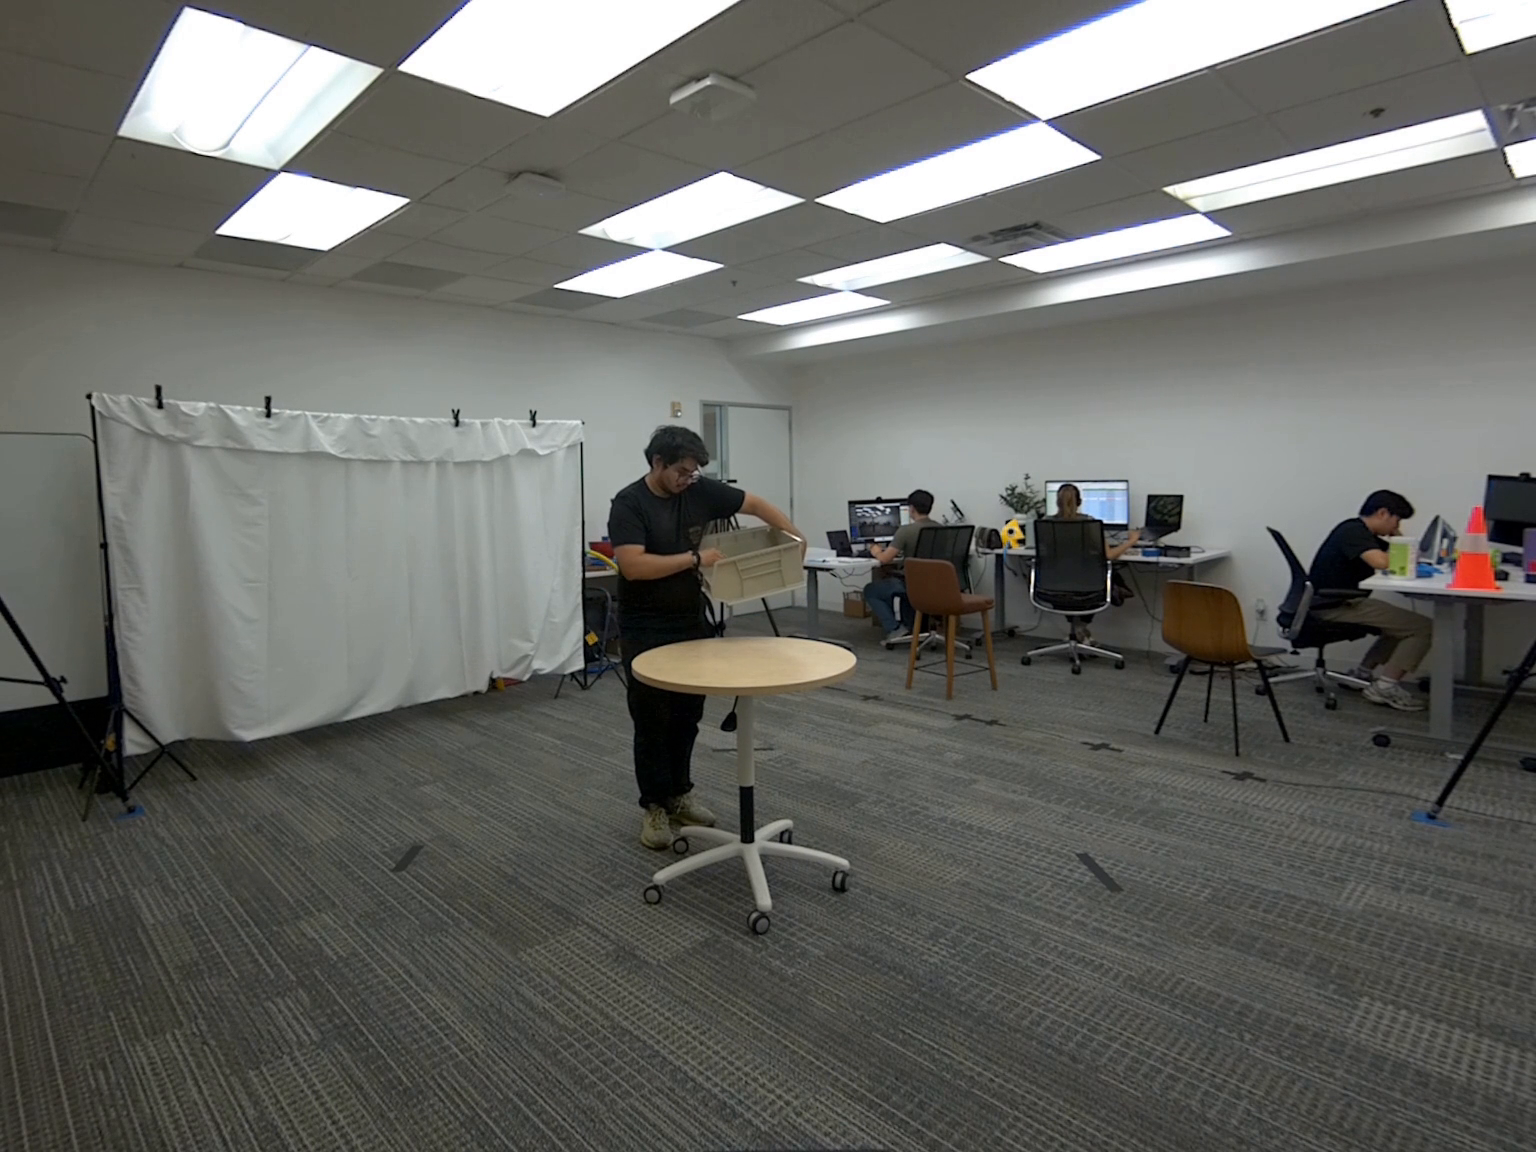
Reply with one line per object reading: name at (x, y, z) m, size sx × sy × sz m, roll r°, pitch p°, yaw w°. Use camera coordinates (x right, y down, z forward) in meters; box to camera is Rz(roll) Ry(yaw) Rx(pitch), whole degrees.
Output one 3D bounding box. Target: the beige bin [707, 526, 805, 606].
beige bin at (-0.092, -0.048, 3.360) m, size 0.374 × 0.187 × 0.432 m, roll -11°, pitch 14°, yaw -13°
